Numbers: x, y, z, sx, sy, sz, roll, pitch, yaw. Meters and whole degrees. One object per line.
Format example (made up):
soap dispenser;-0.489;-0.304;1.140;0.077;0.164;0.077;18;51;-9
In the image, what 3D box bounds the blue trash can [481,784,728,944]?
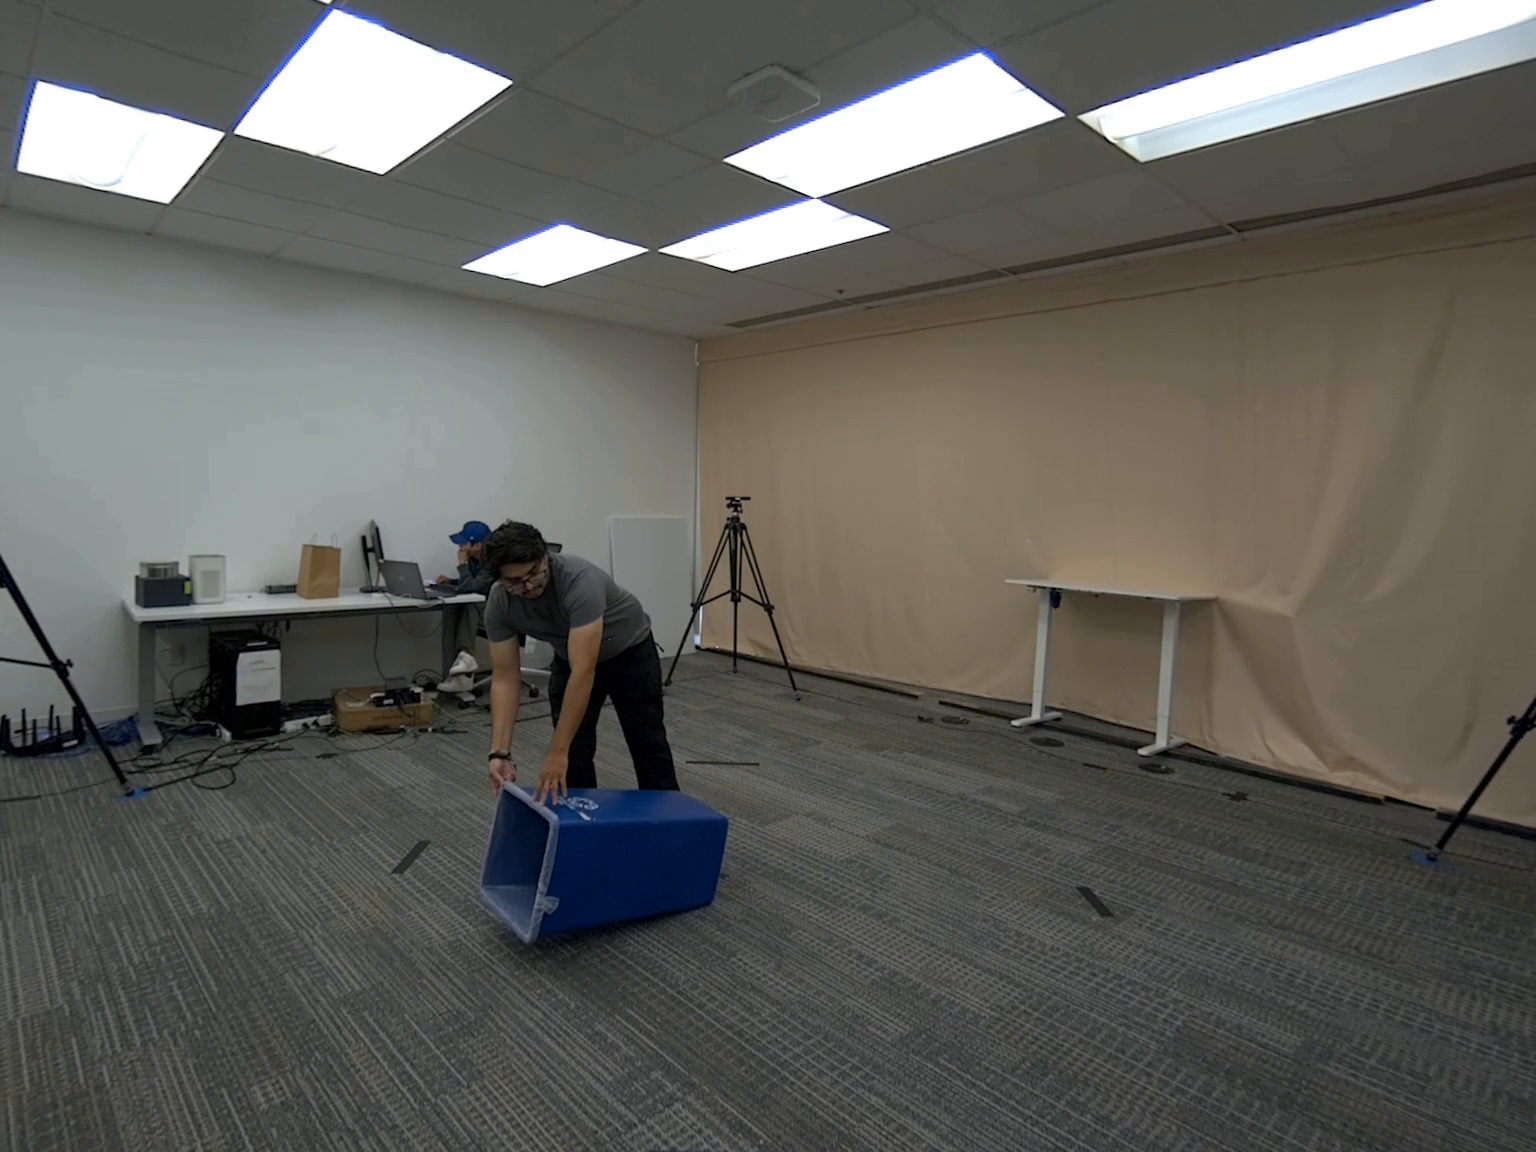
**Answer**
blue trash can;-0.503;0.916;2.759;0.694;0.374;0.388;11;-1;-42
